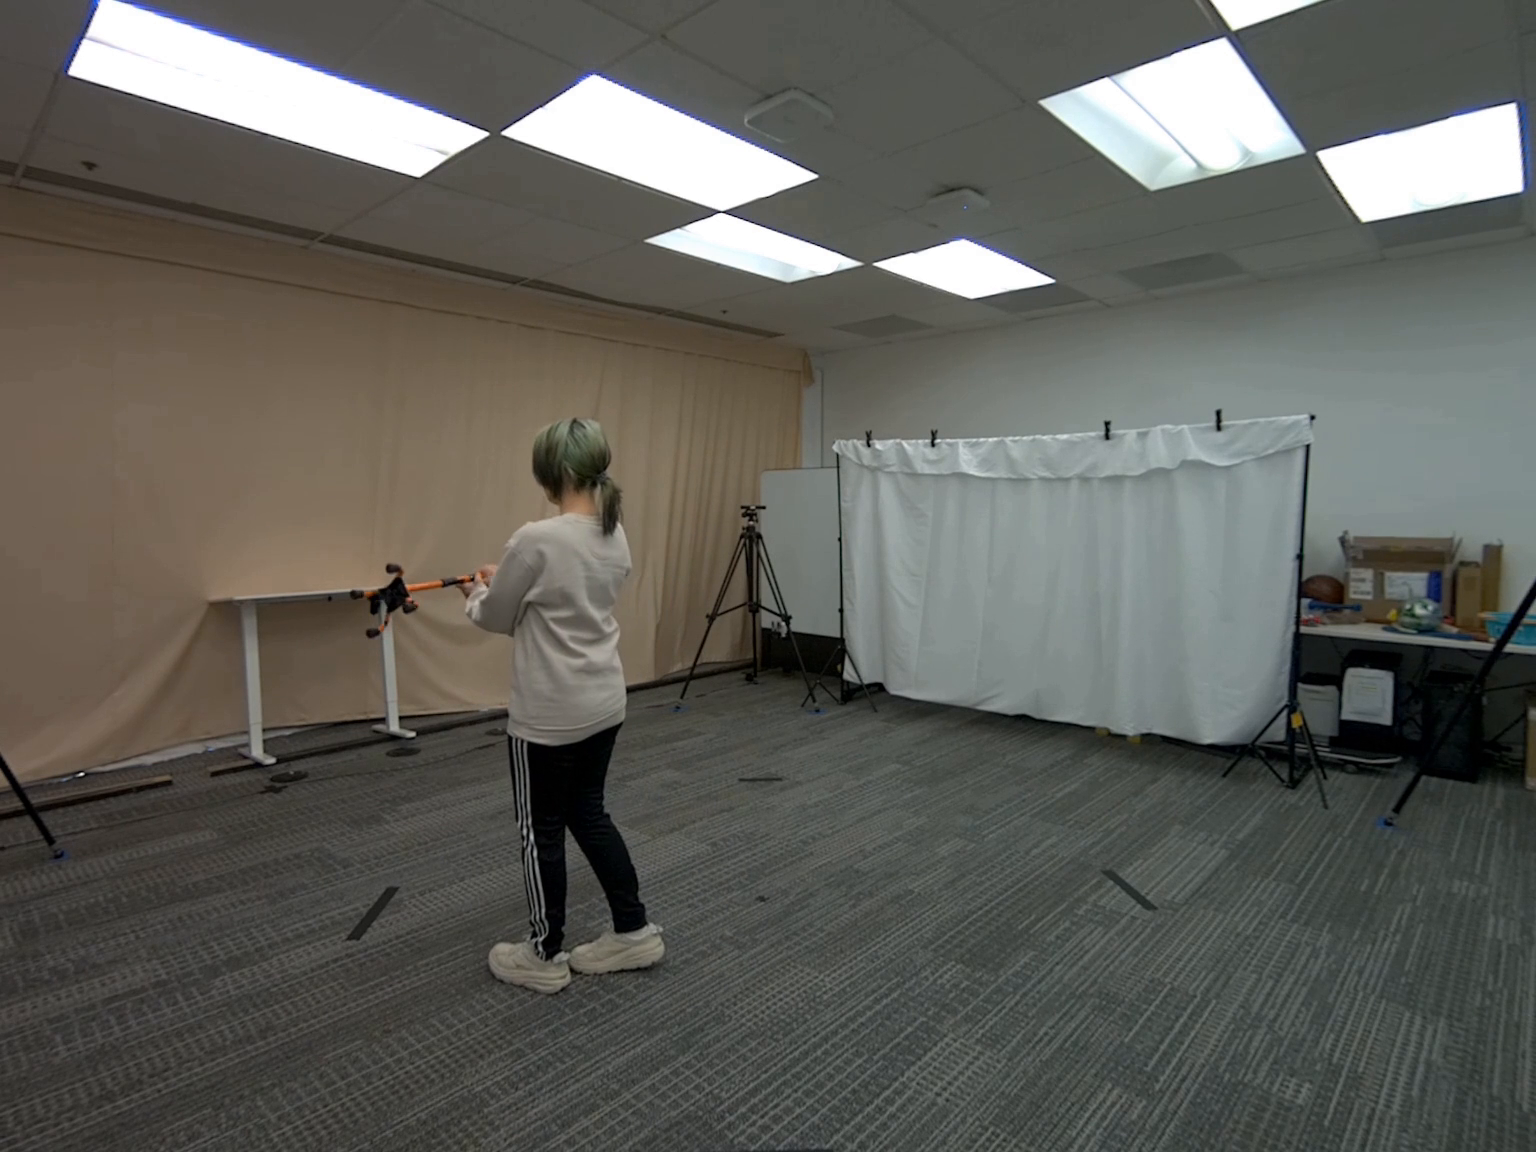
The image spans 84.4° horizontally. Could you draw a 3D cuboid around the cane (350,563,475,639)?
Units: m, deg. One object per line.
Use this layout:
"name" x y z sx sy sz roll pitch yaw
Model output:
"cane" -0.906 0.015 2.755 0.209 0.152 0.889 -28 -4 26
